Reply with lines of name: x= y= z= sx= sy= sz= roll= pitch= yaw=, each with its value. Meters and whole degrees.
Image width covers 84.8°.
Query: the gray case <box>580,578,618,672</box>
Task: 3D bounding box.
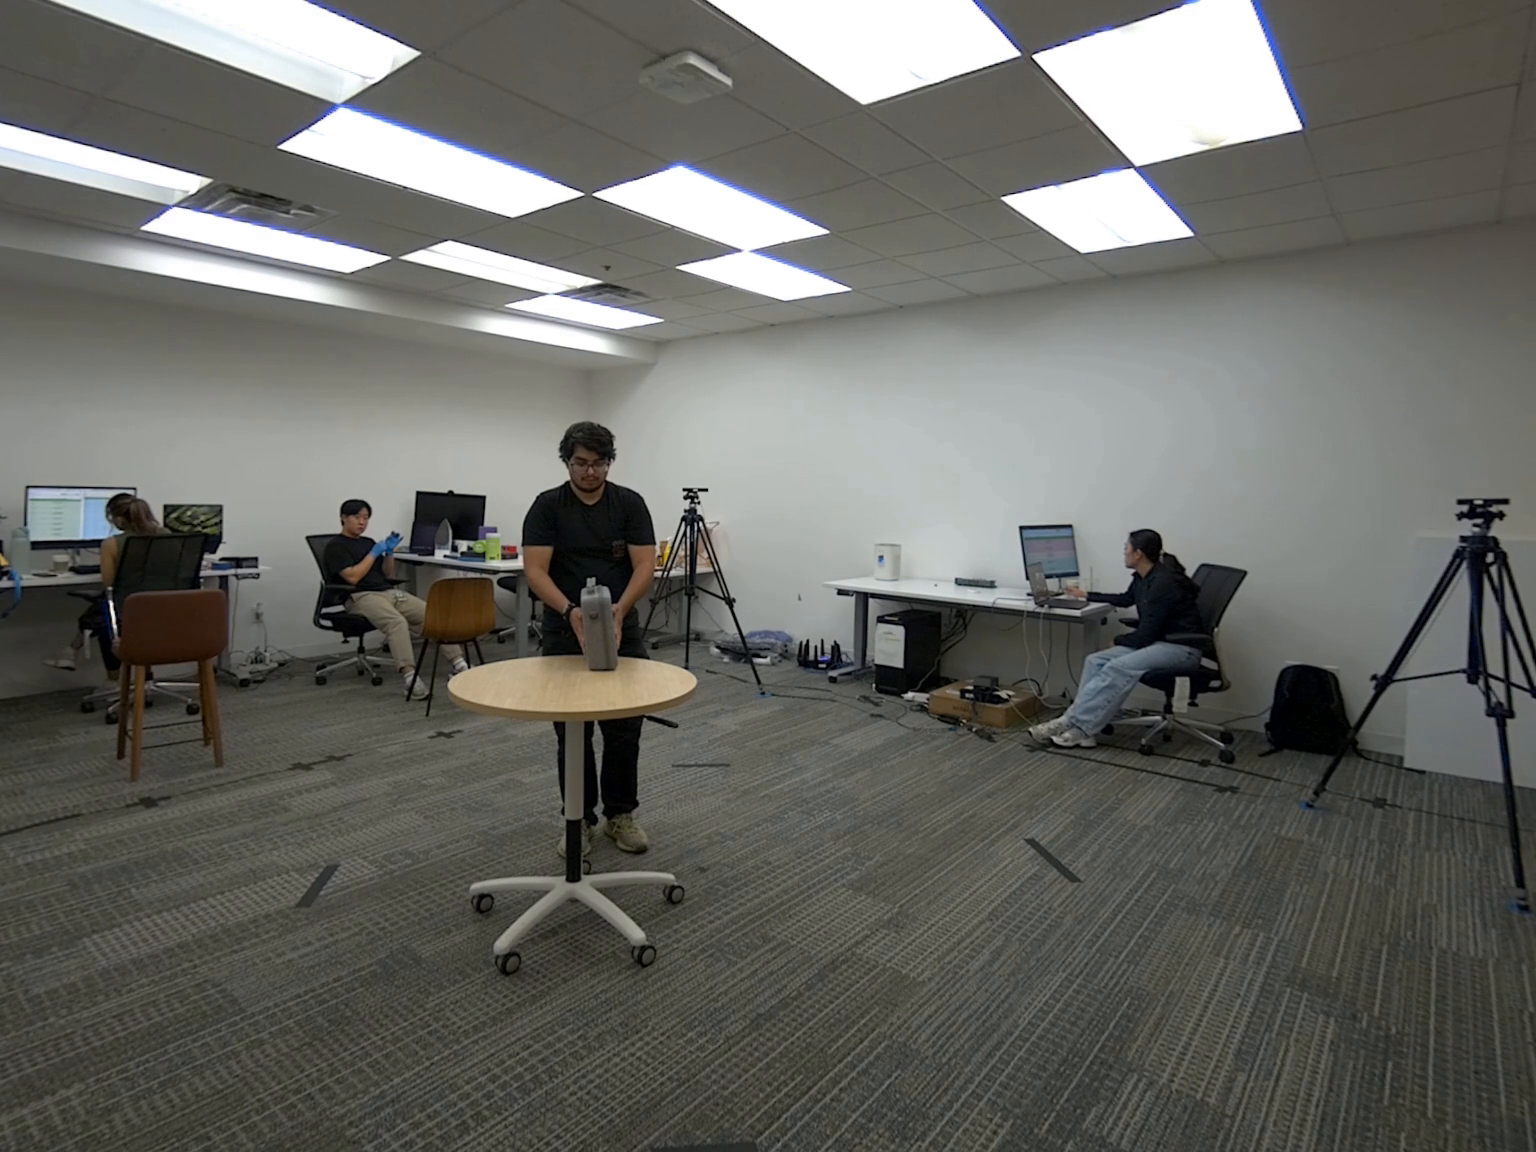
gray case: x=-0.594 y=0.171 z=2.897 sx=0.103 sy=0.259 sz=0.261 roll=-5 pitch=6 yaw=-10
